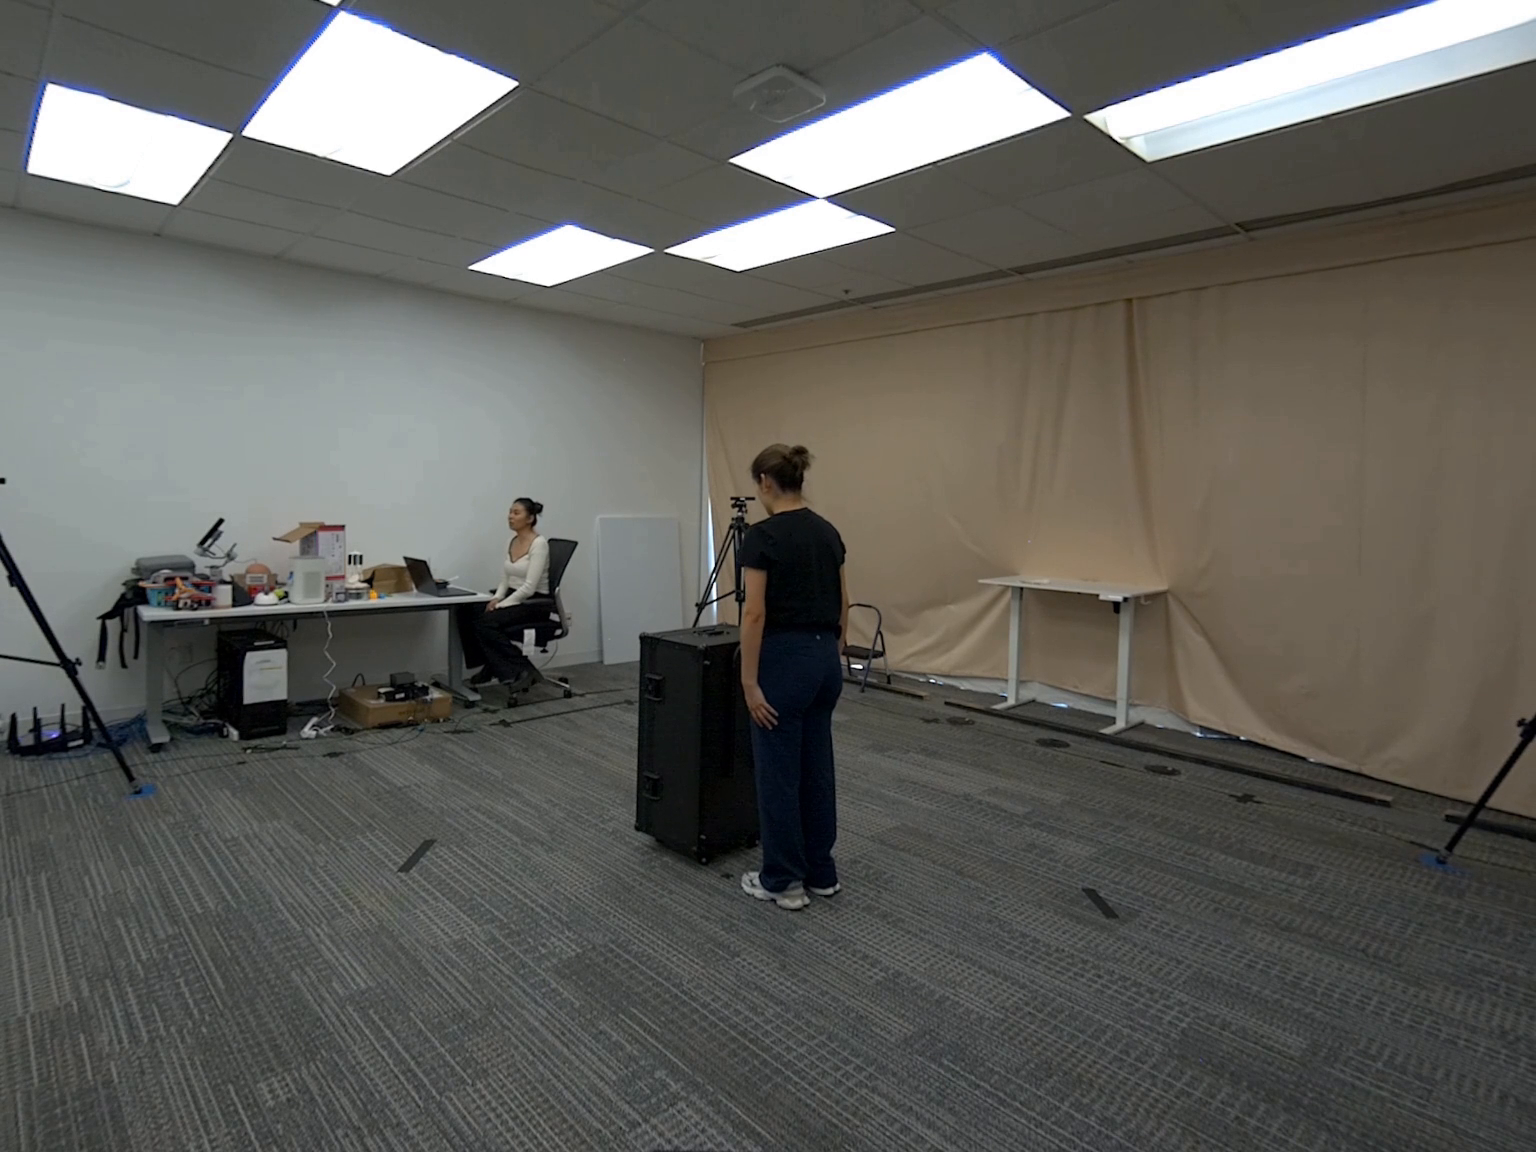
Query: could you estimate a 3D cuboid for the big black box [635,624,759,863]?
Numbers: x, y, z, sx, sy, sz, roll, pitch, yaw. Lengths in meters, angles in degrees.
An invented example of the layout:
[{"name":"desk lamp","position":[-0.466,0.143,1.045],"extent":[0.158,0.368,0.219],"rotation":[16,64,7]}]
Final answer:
[{"name":"big black box","position":[-0.236,0.658,3.363],"extent":[0.406,0.859,0.509],"rotation":[4,4,41]}]
